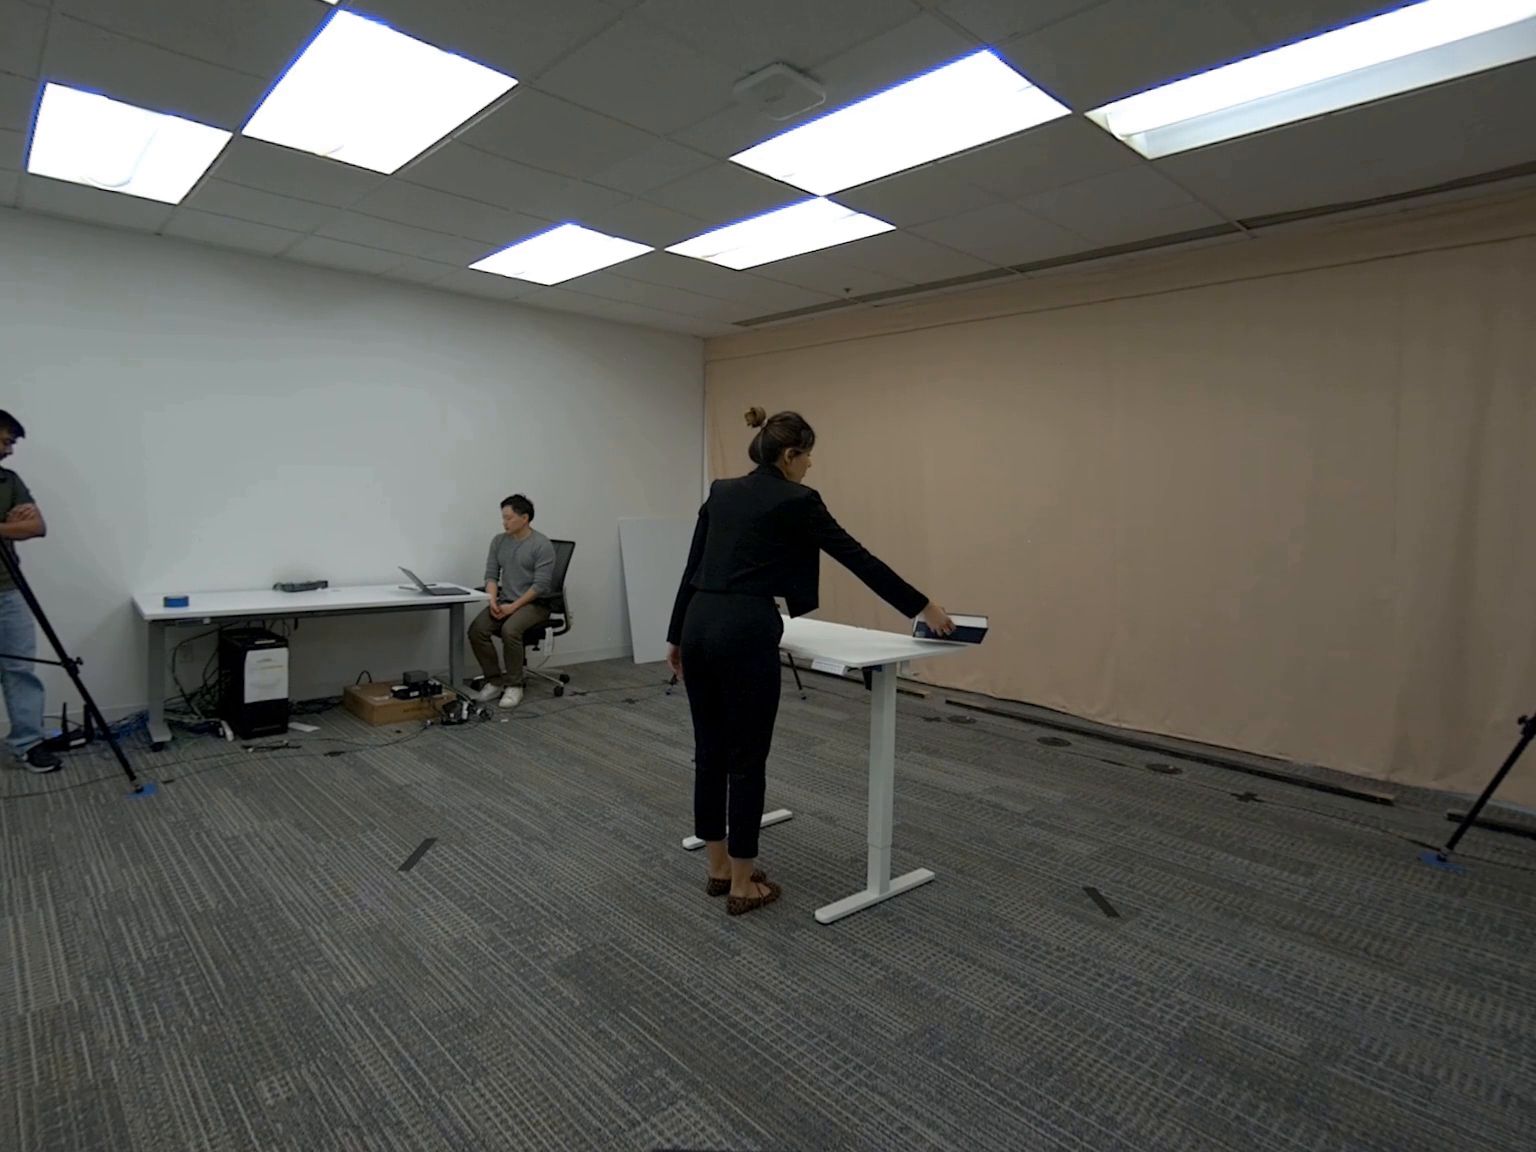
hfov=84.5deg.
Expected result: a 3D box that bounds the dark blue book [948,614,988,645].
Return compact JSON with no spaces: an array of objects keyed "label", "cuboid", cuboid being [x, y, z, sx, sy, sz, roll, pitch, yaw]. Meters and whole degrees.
[{"label":"dark blue book","cuboid":[0.645,0.186,3.007,0.246,0.046,0.160,6,-24,6]}]
